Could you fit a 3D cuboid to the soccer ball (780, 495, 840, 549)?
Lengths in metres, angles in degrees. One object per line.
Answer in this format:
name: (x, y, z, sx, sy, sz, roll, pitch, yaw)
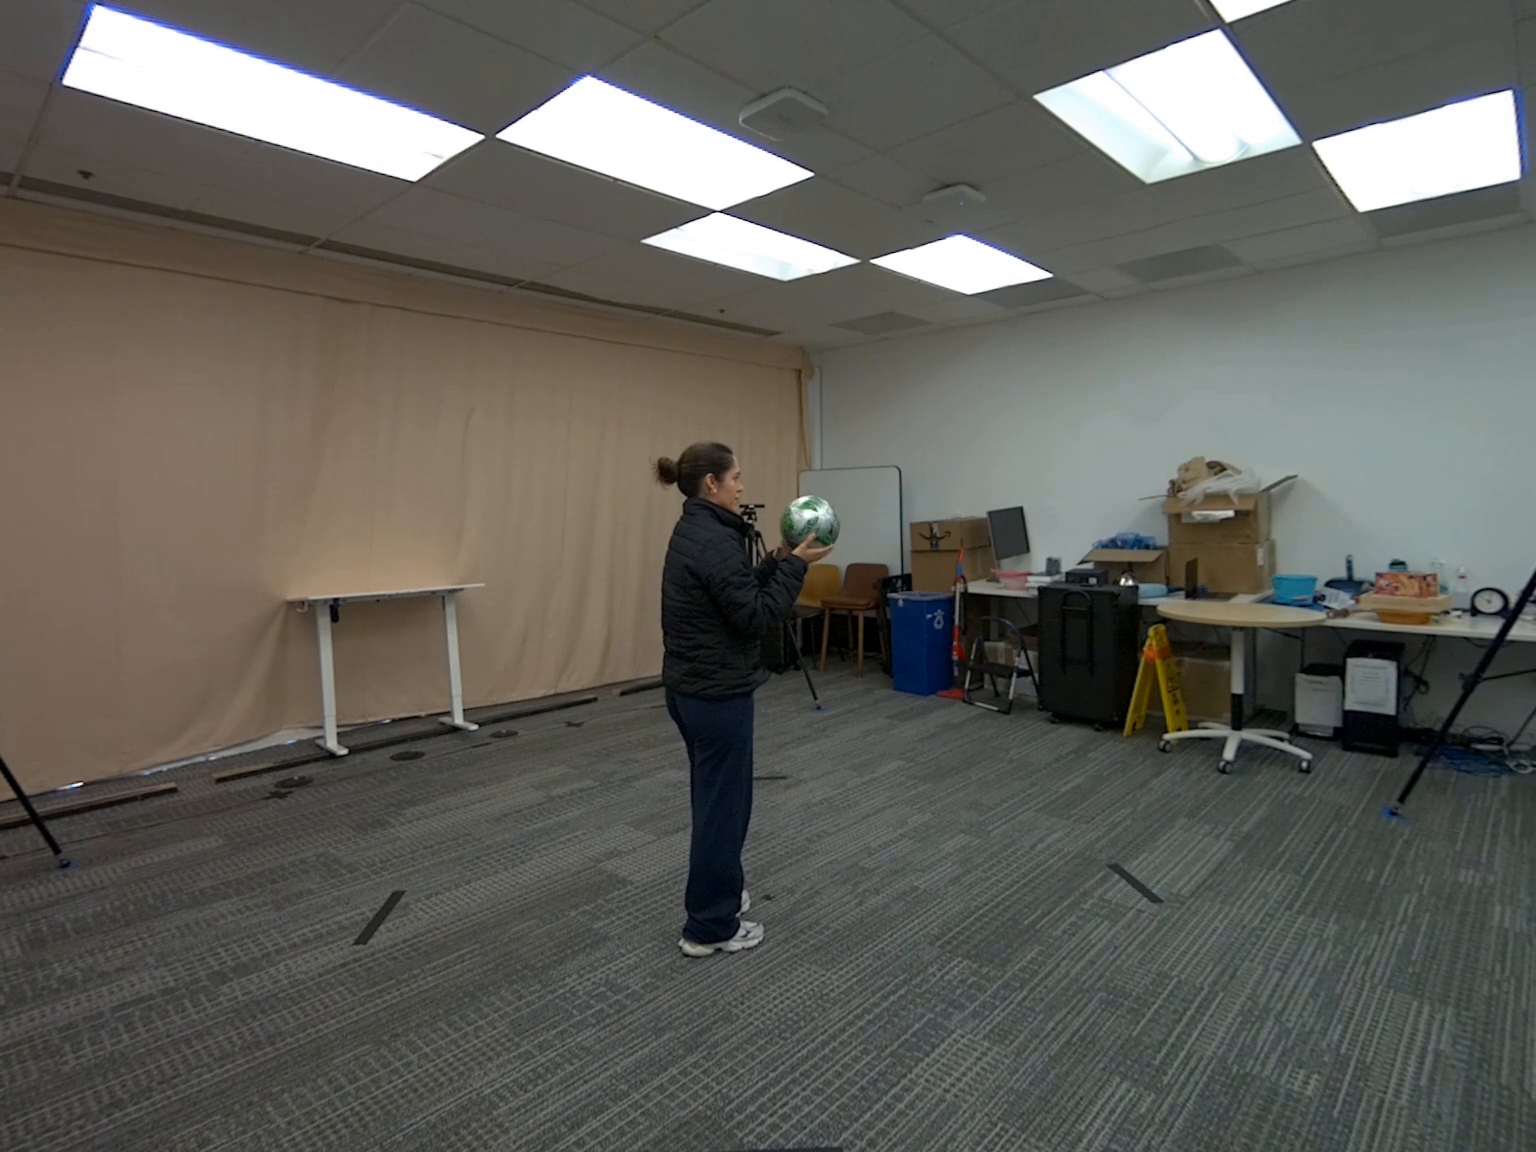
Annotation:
soccer ball: (0.129, -0.152, 2.650, 0.187, 0.187, 0.188, -1, 4, -2)
